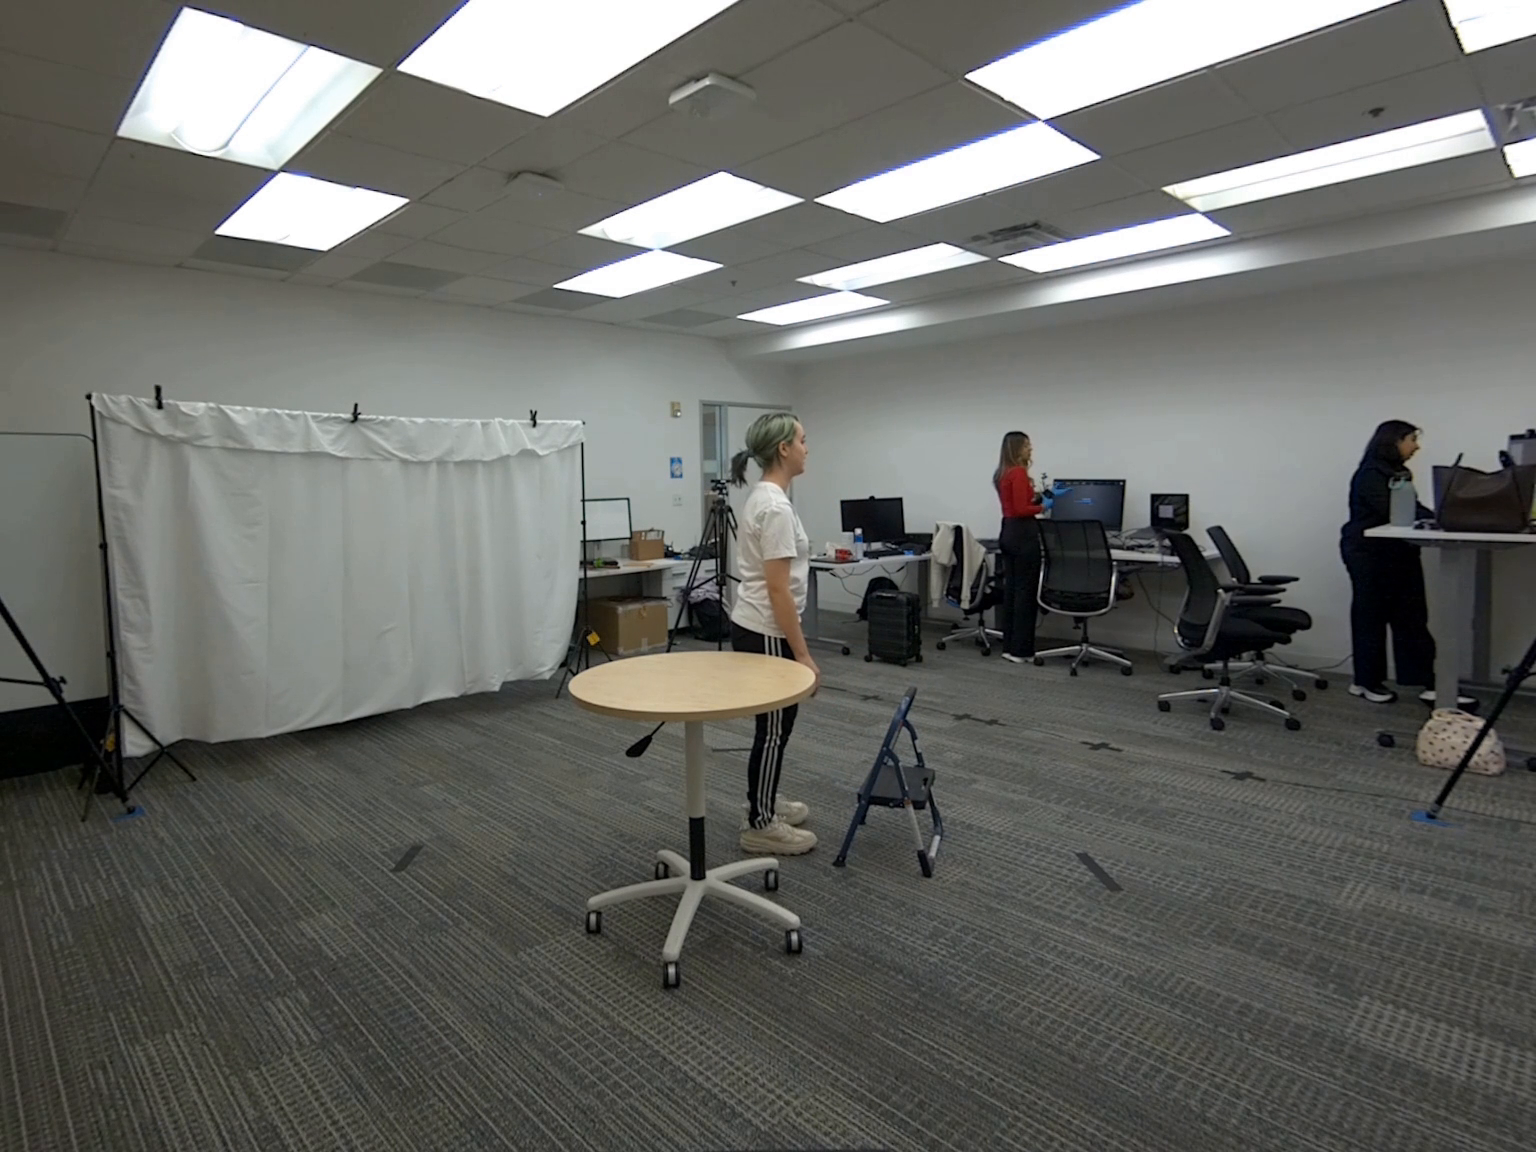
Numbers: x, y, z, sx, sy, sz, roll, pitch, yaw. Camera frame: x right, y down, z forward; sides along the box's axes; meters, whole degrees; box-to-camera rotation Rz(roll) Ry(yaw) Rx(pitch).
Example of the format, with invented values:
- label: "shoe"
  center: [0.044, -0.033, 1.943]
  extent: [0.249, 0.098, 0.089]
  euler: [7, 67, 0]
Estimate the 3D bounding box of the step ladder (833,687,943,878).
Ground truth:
- label: "step ladder"
  center: [0.462, 0.727, 3.195]
  extent: [0.356, 0.604, 0.424]
  euler: [0, 5, 19]
